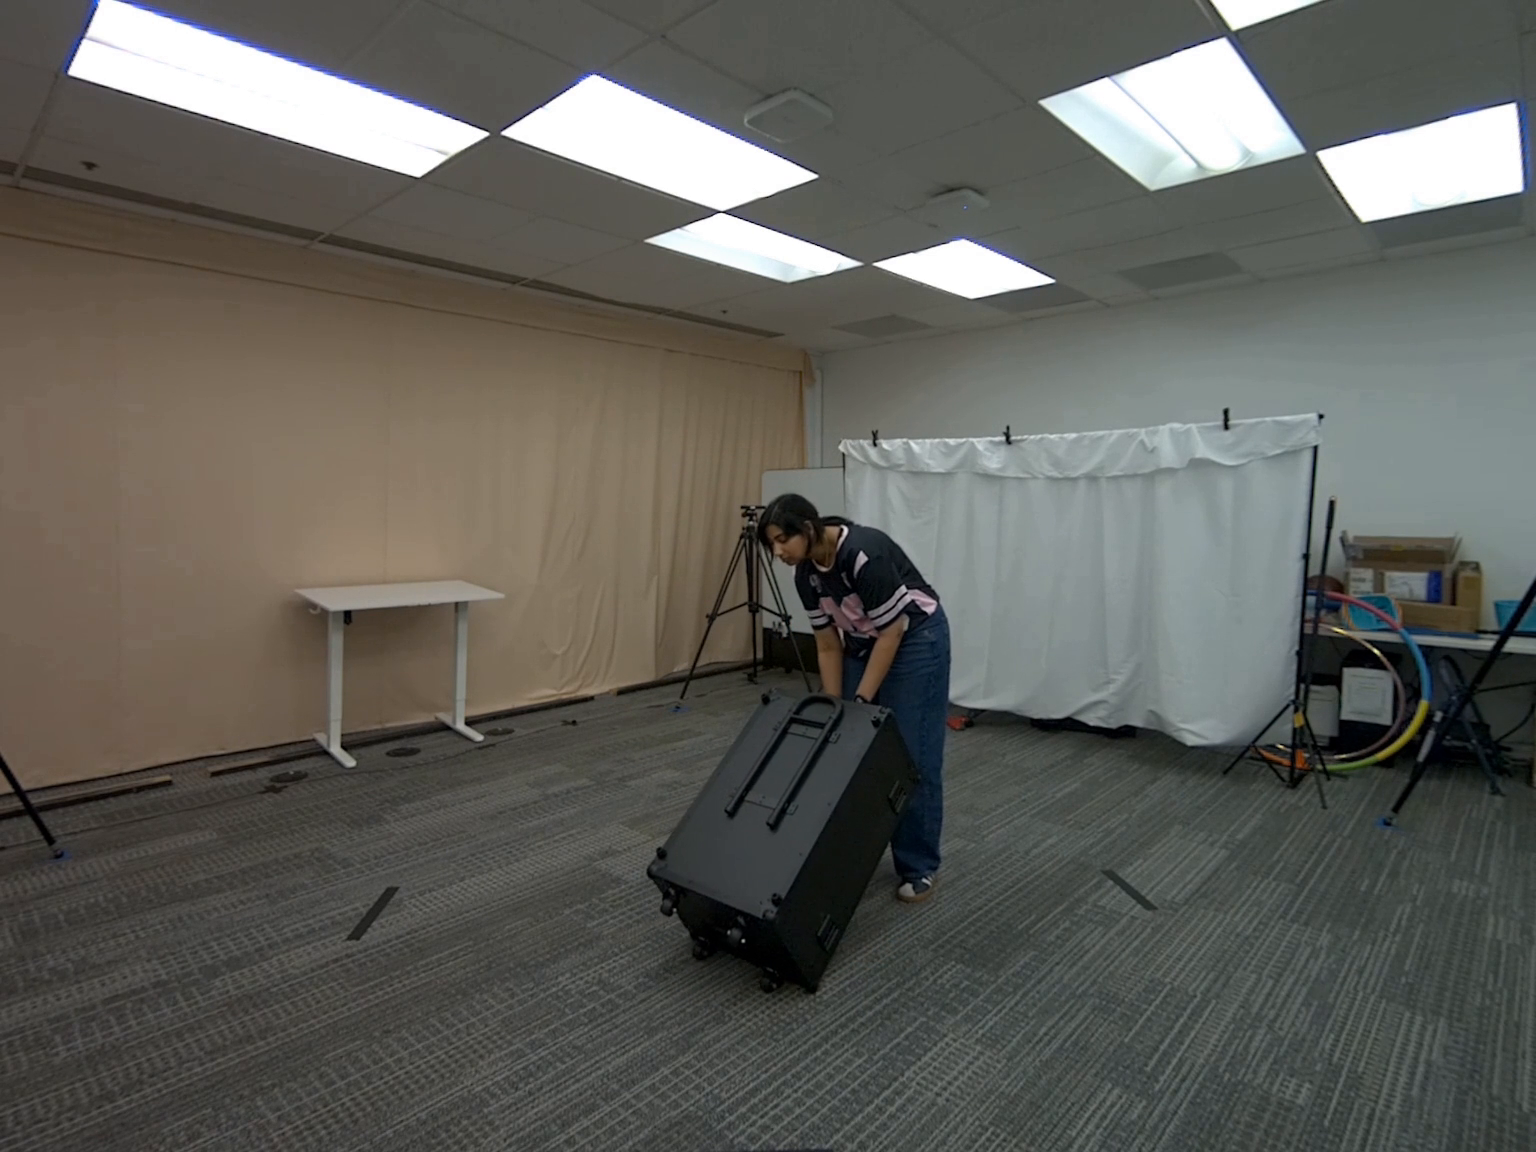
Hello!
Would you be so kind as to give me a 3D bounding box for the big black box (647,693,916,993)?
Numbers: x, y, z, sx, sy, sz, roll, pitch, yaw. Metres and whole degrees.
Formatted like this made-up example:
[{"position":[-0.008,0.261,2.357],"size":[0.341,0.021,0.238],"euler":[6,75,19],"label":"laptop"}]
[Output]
[{"position":[0.064,0.809,2.673],"size":[0.541,0.375,0.864],"euler":[4,43,39],"label":"big black box"}]
